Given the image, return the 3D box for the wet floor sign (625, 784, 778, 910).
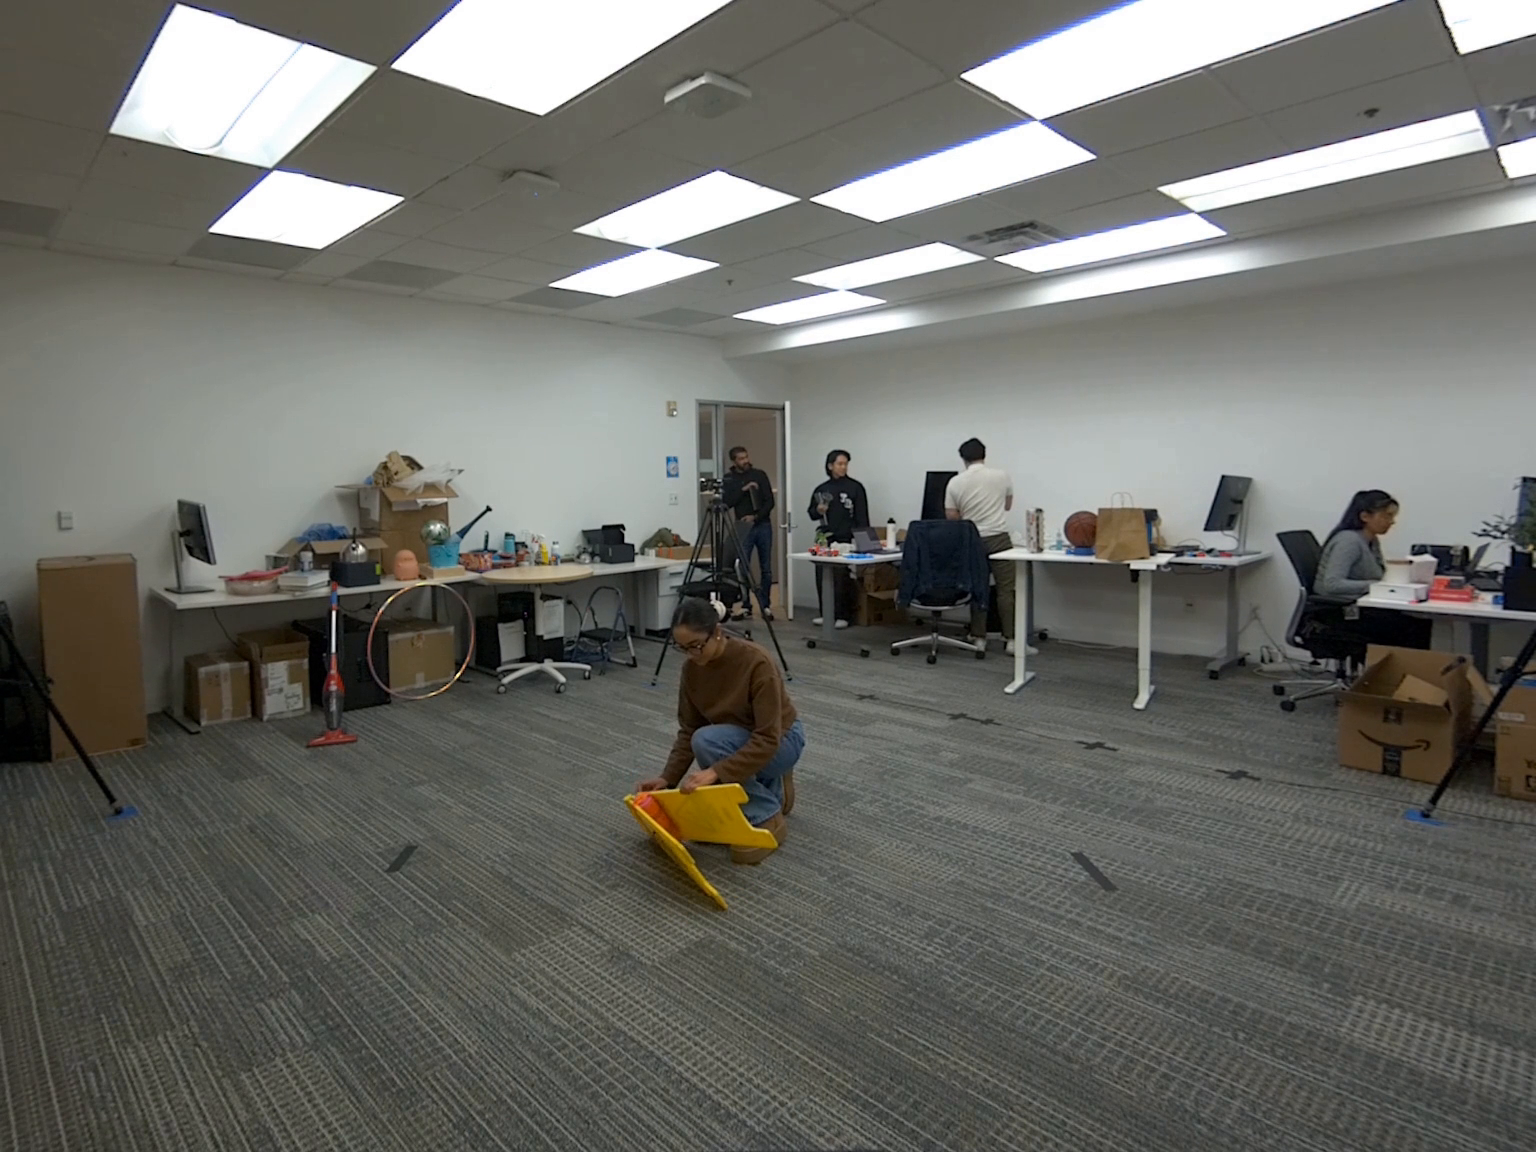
[{"bbox_3d":[-0.316,0.918,3.065,0.289,0.277,0.661,-42,20,-31],"label":"wet floor sign"}]
